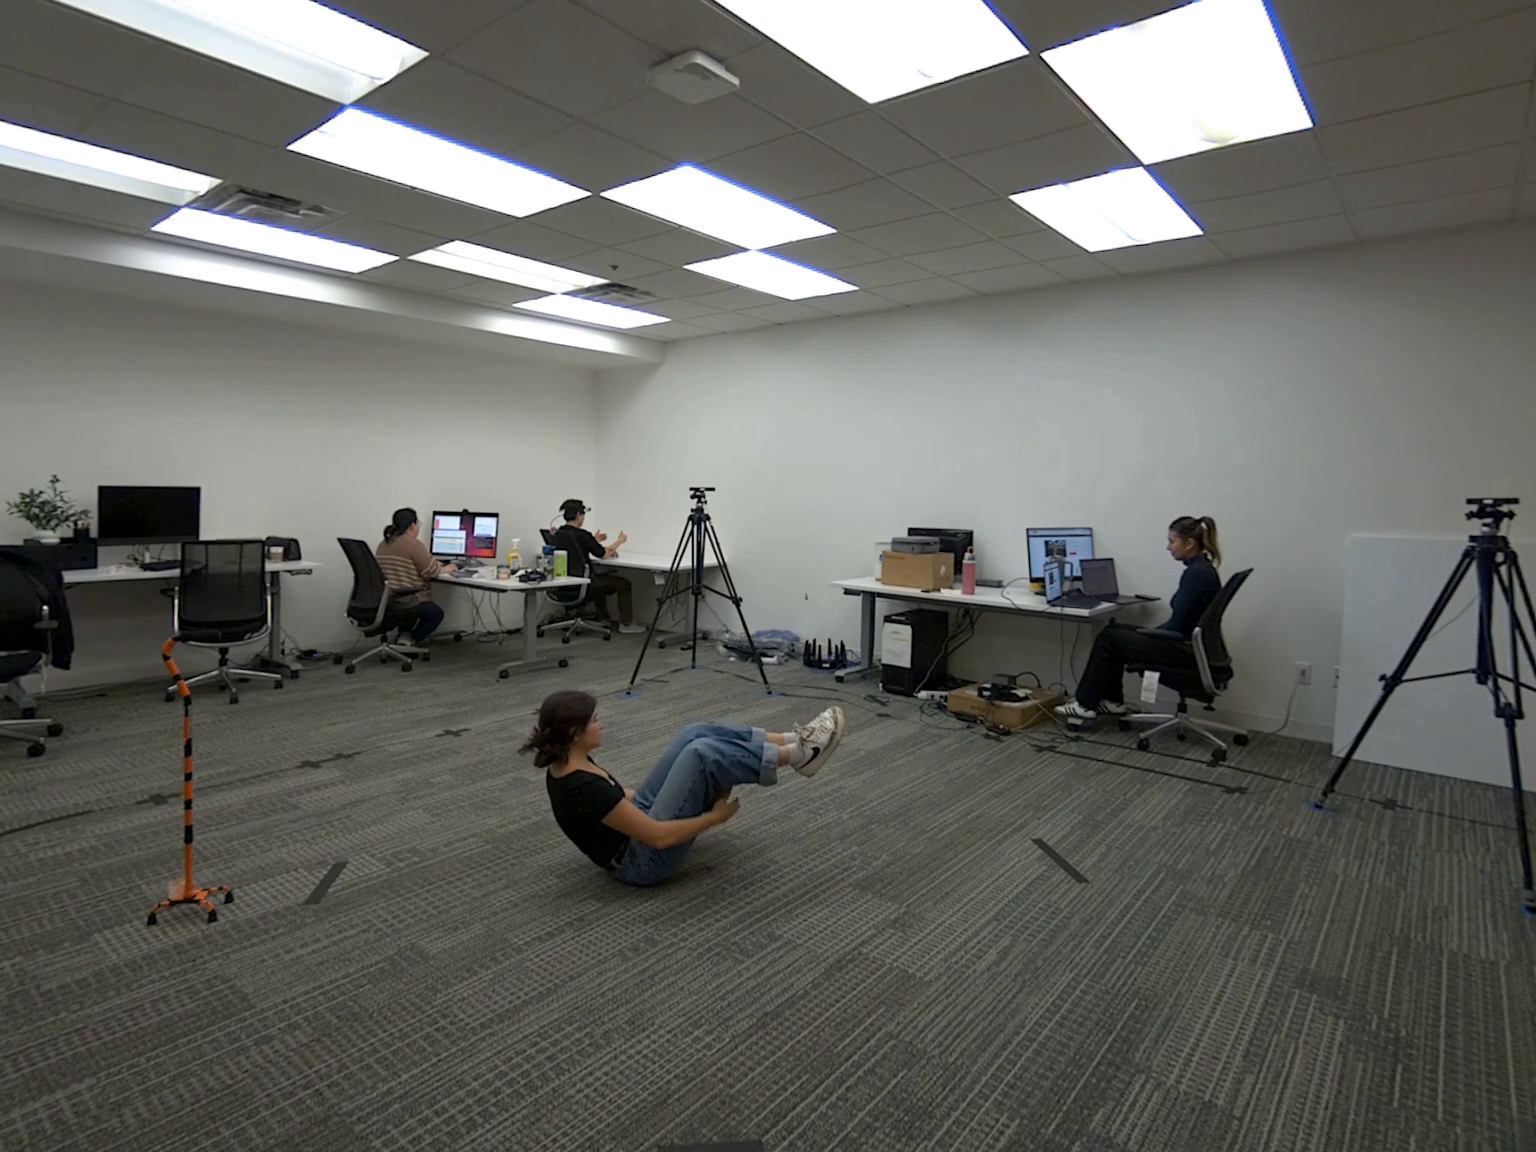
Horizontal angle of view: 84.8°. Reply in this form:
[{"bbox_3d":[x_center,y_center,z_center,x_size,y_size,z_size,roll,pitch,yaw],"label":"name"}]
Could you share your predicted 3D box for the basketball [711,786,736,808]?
[{"bbox_3d":[-0.264,0.794,3.339,0.235,0.235,0.237,1,4,-2],"label":"basketball"}]
